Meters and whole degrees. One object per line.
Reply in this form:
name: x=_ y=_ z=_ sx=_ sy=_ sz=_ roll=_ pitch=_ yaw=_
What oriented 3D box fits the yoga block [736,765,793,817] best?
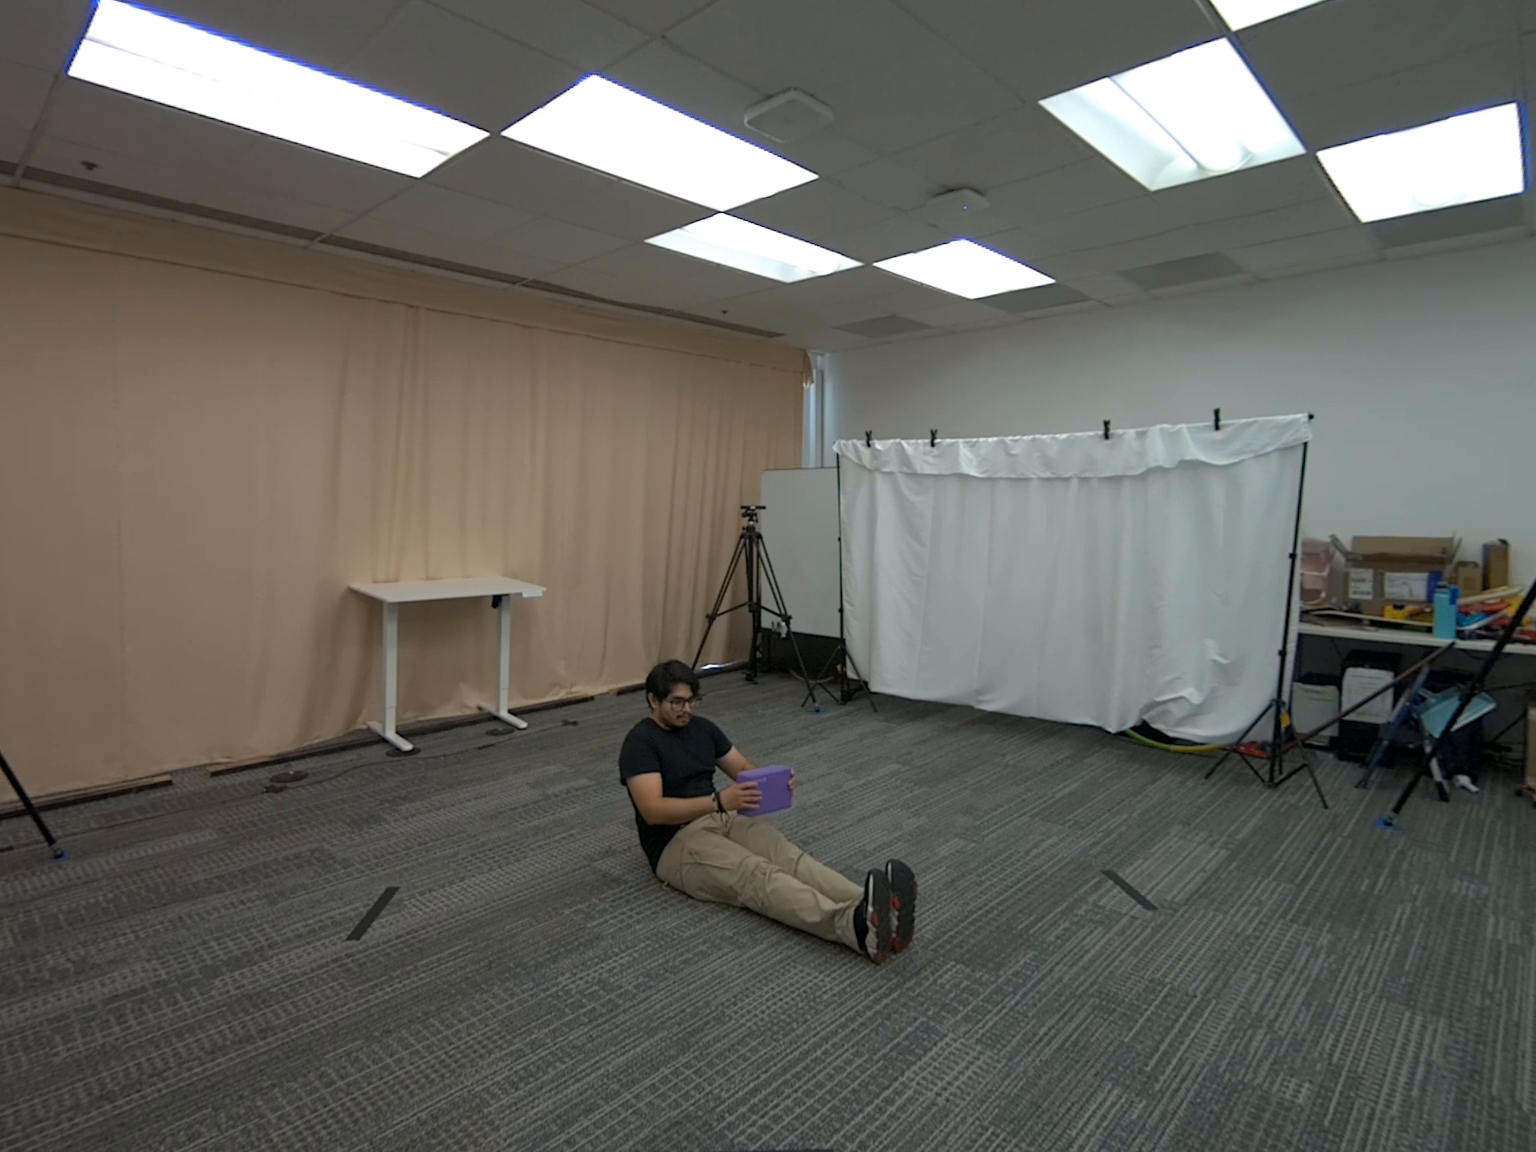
yoga block: x=-0.017 y=0.775 z=3.030 sx=0.079 sy=0.149 sz=0.222 roll=-3 pitch=-4 yaw=44
